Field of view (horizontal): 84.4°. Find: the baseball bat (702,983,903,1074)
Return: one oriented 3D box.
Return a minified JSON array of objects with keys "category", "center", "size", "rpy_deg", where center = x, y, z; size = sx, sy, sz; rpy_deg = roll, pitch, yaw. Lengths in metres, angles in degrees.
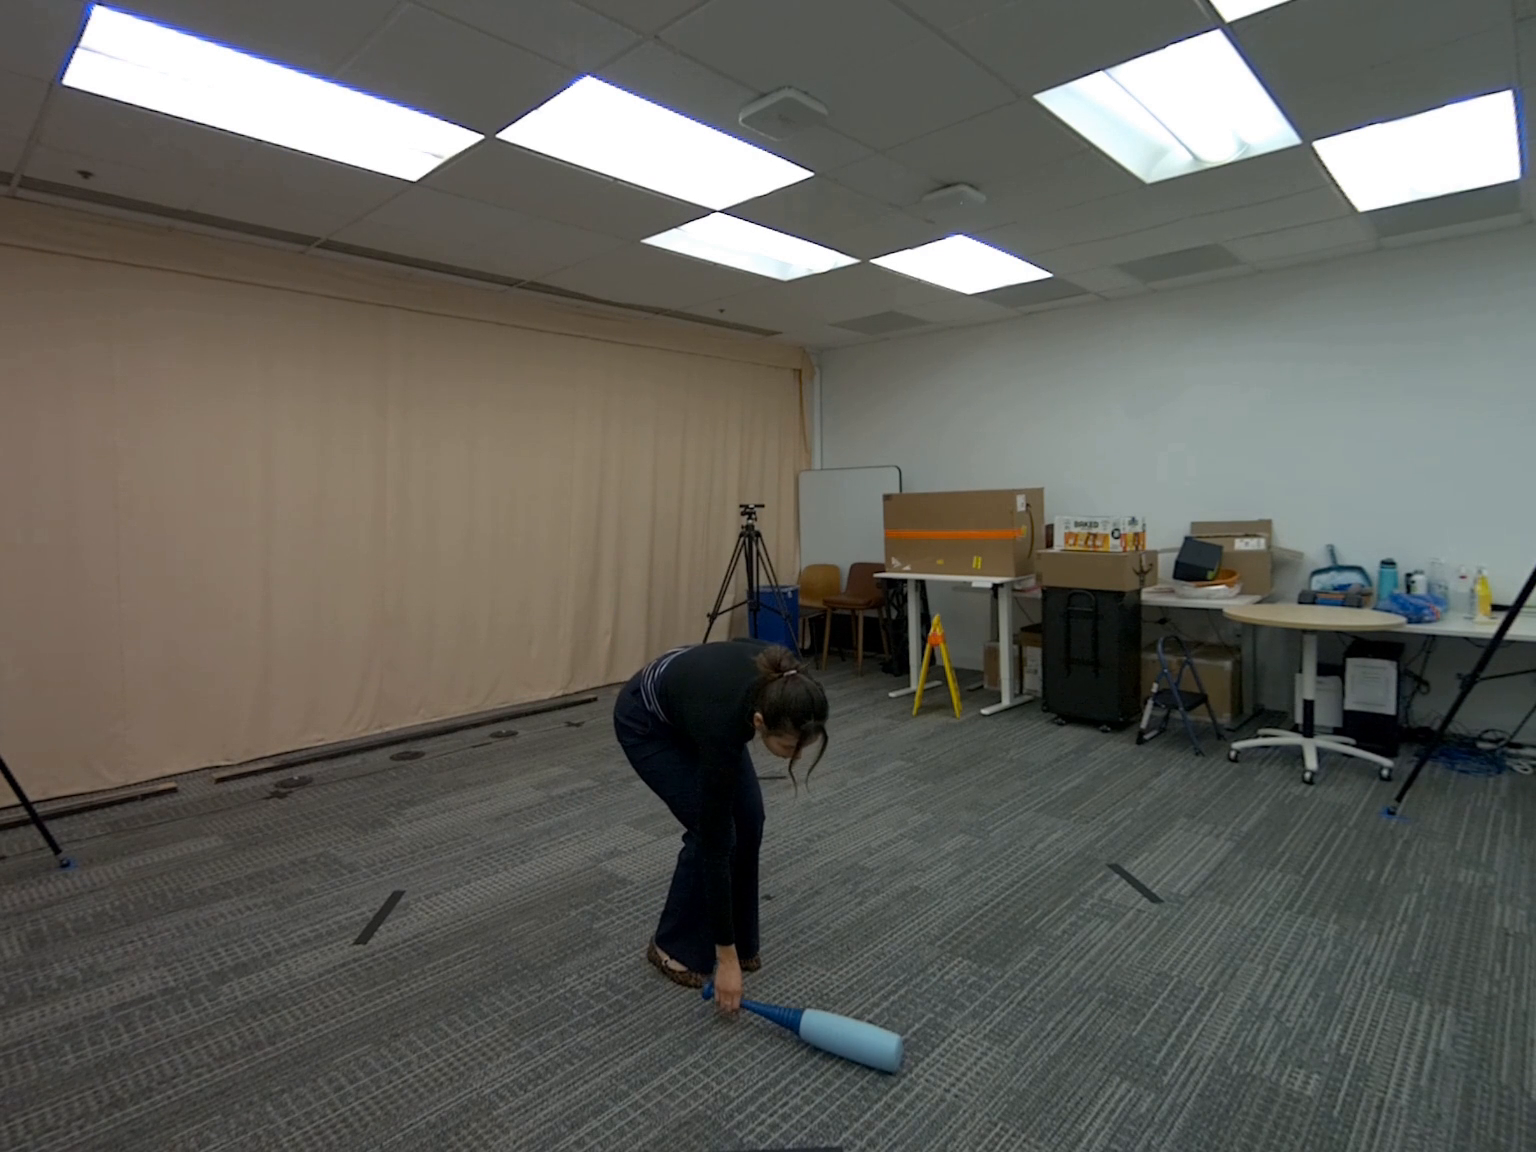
[{"category":"baseball bat","center":[0.079,1.148,2.166],"size":[0.557,0.089,0.087],"rpy_deg":[5,6,24]}]
